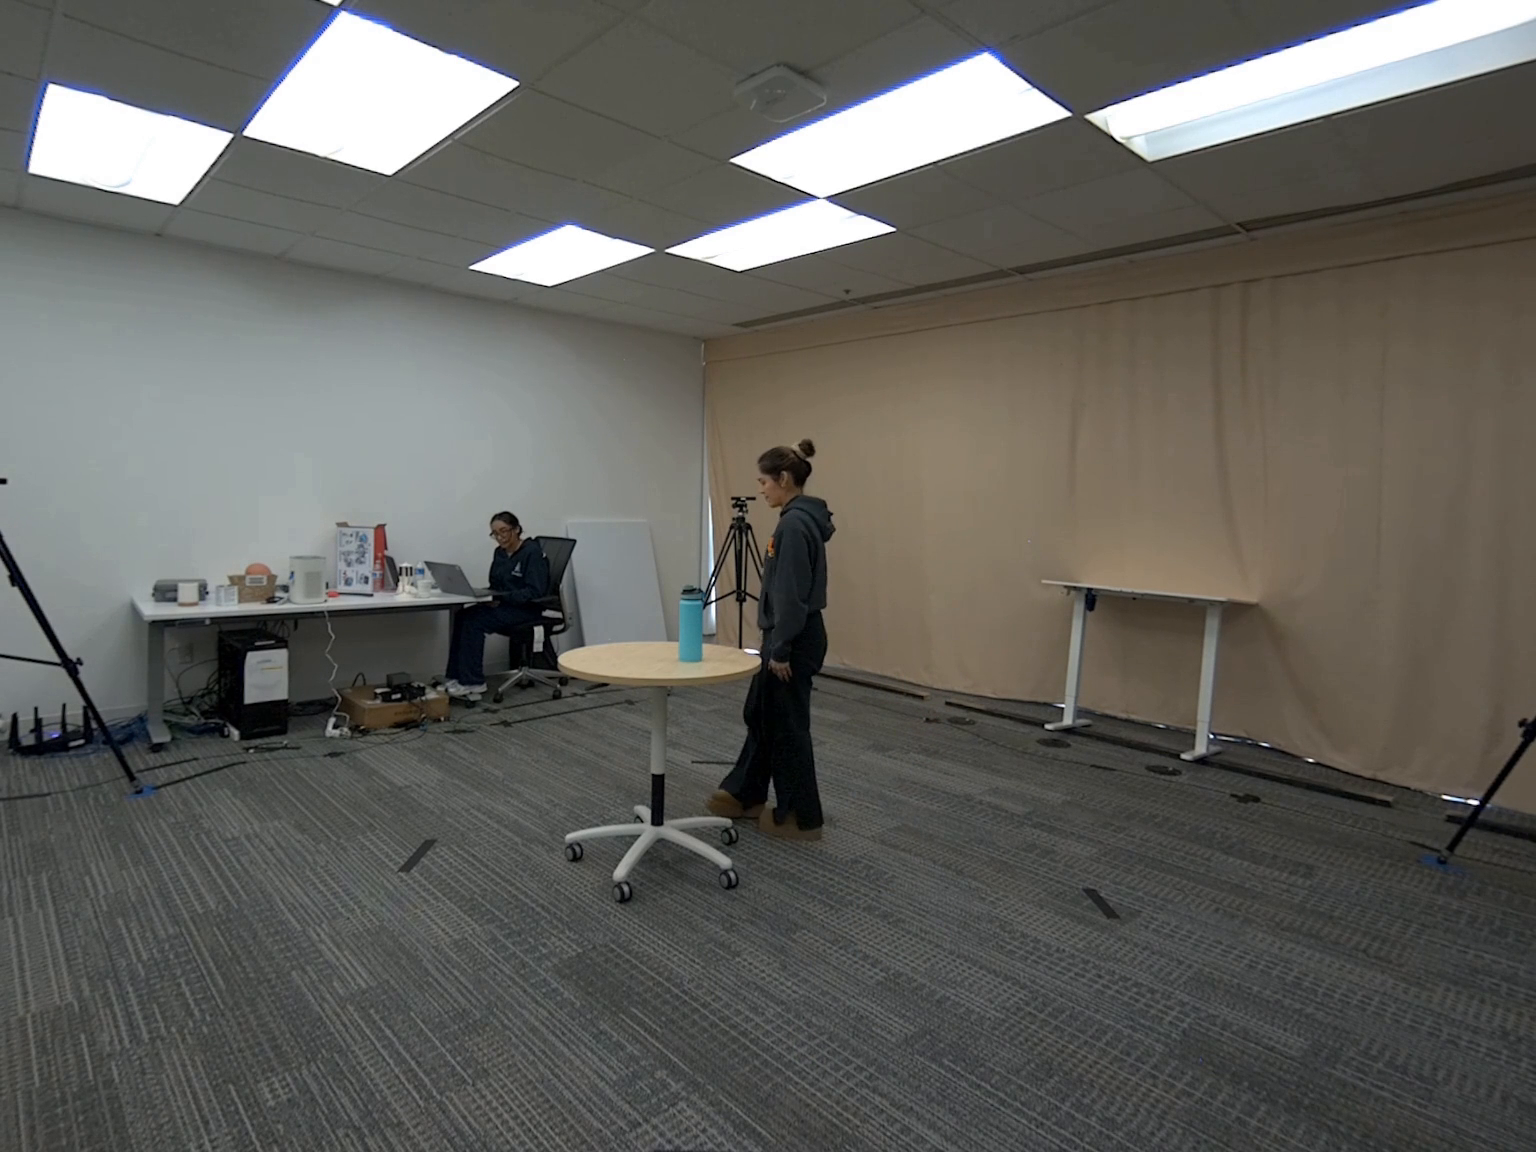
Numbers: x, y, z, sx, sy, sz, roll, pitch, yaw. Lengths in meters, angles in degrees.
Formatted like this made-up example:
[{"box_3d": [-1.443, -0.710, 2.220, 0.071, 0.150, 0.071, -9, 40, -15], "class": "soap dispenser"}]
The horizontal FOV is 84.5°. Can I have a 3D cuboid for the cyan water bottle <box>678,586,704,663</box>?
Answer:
[{"box_3d": [-0.294, 0.178, 3.153, 0.092, 0.283, 0.092, 3, 4, -2], "class": "cyan water bottle"}]
